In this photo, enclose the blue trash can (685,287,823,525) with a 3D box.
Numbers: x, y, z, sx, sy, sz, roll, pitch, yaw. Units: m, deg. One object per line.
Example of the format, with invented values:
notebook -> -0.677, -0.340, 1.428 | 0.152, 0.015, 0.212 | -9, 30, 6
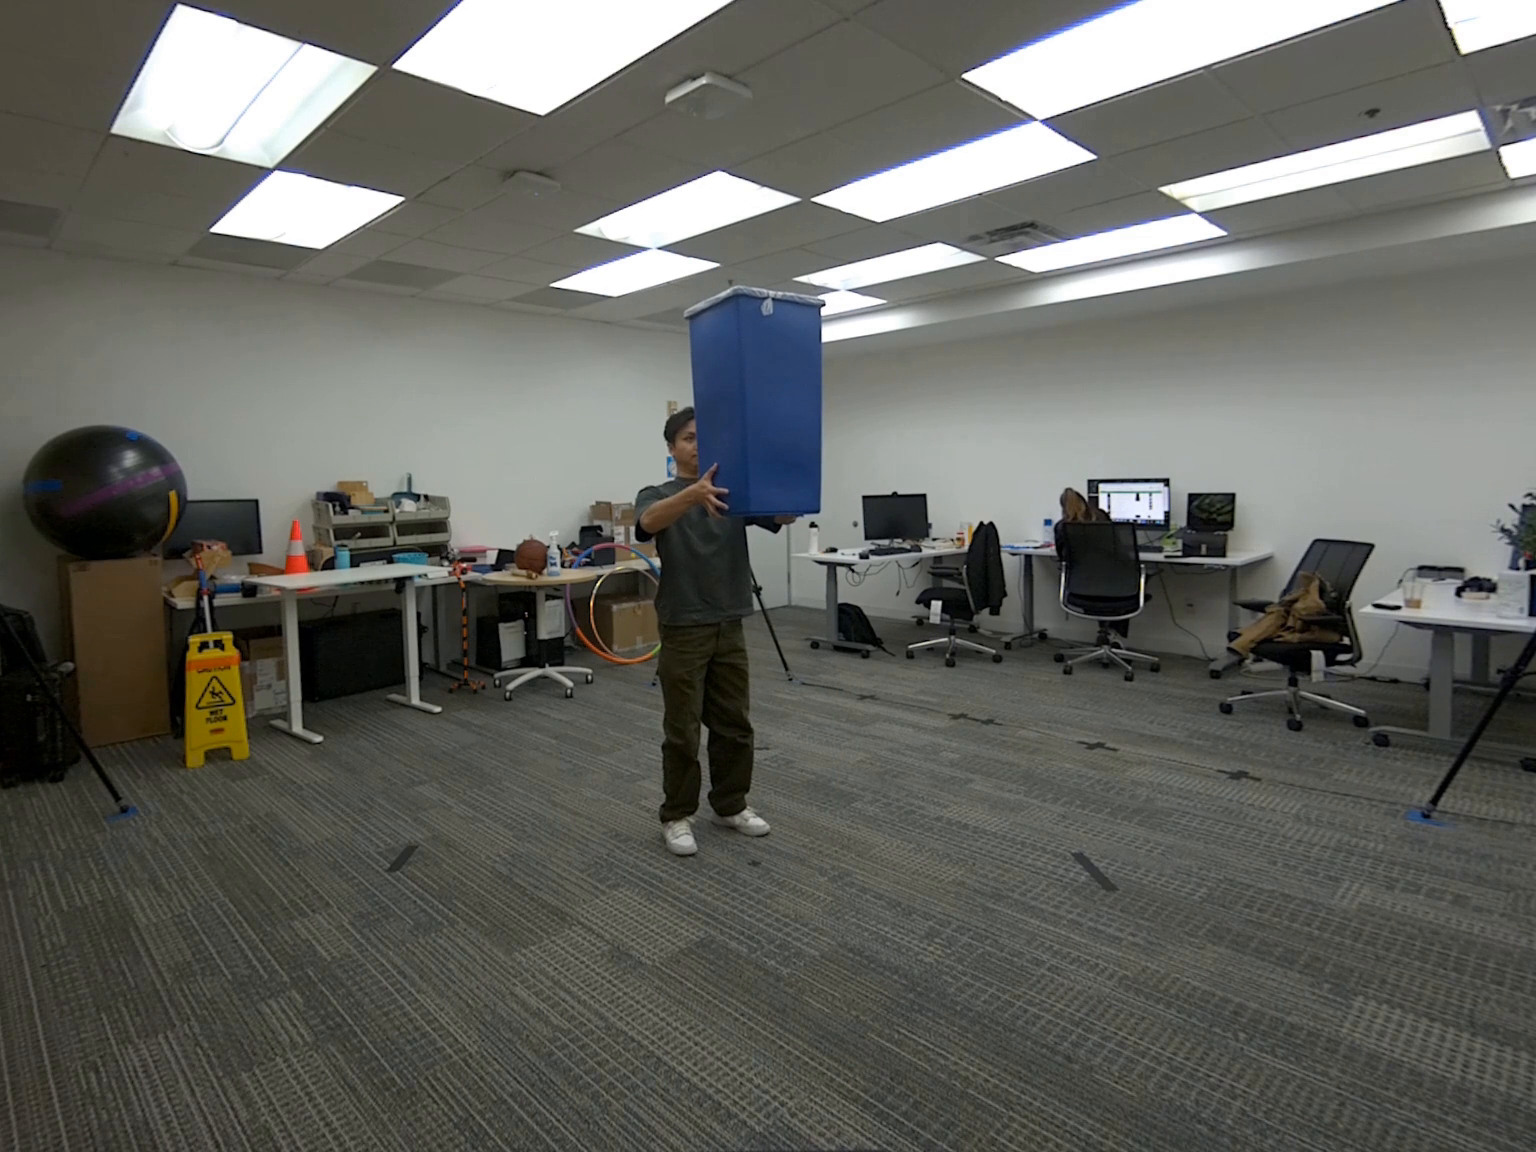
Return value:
blue trash can -> -0.030, -0.568, 2.905 | 0.365, 0.713, 0.388 | -3, 1, -34
